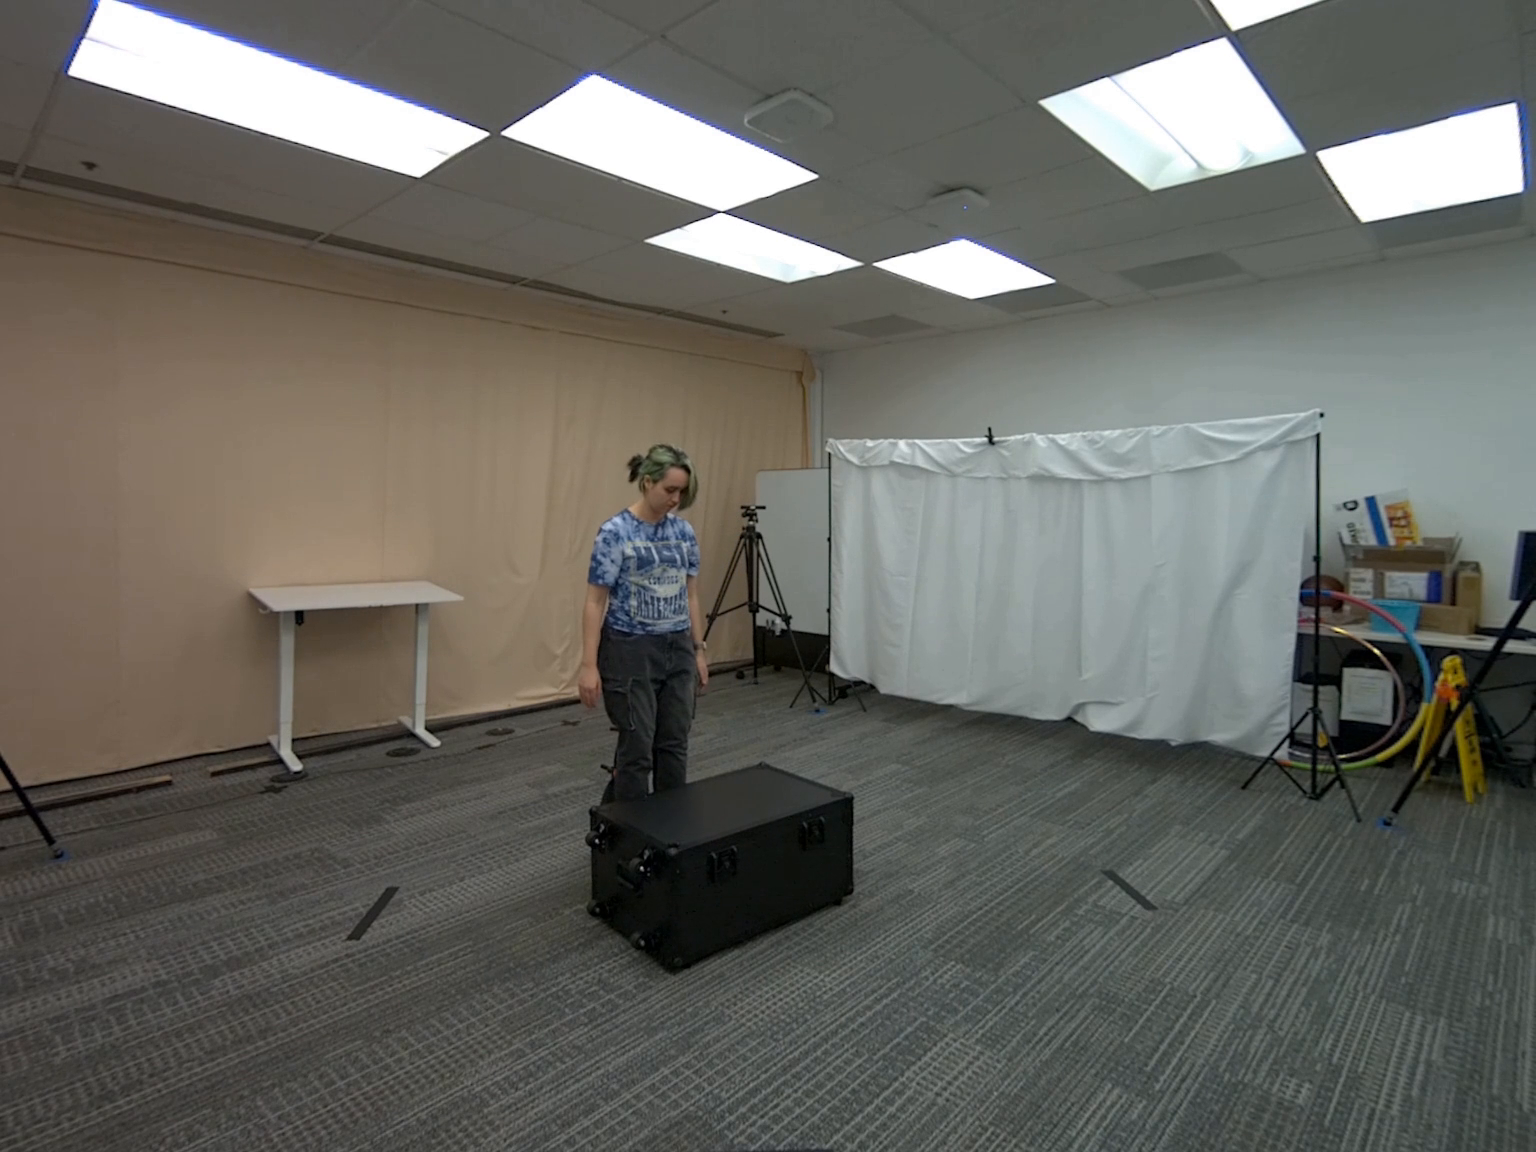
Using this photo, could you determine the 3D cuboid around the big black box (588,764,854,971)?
[{"bbox_3d":[-0.168,0.964,2.881,0.835,0.395,0.538,-3,5,-39],"label":"big black box"}]
